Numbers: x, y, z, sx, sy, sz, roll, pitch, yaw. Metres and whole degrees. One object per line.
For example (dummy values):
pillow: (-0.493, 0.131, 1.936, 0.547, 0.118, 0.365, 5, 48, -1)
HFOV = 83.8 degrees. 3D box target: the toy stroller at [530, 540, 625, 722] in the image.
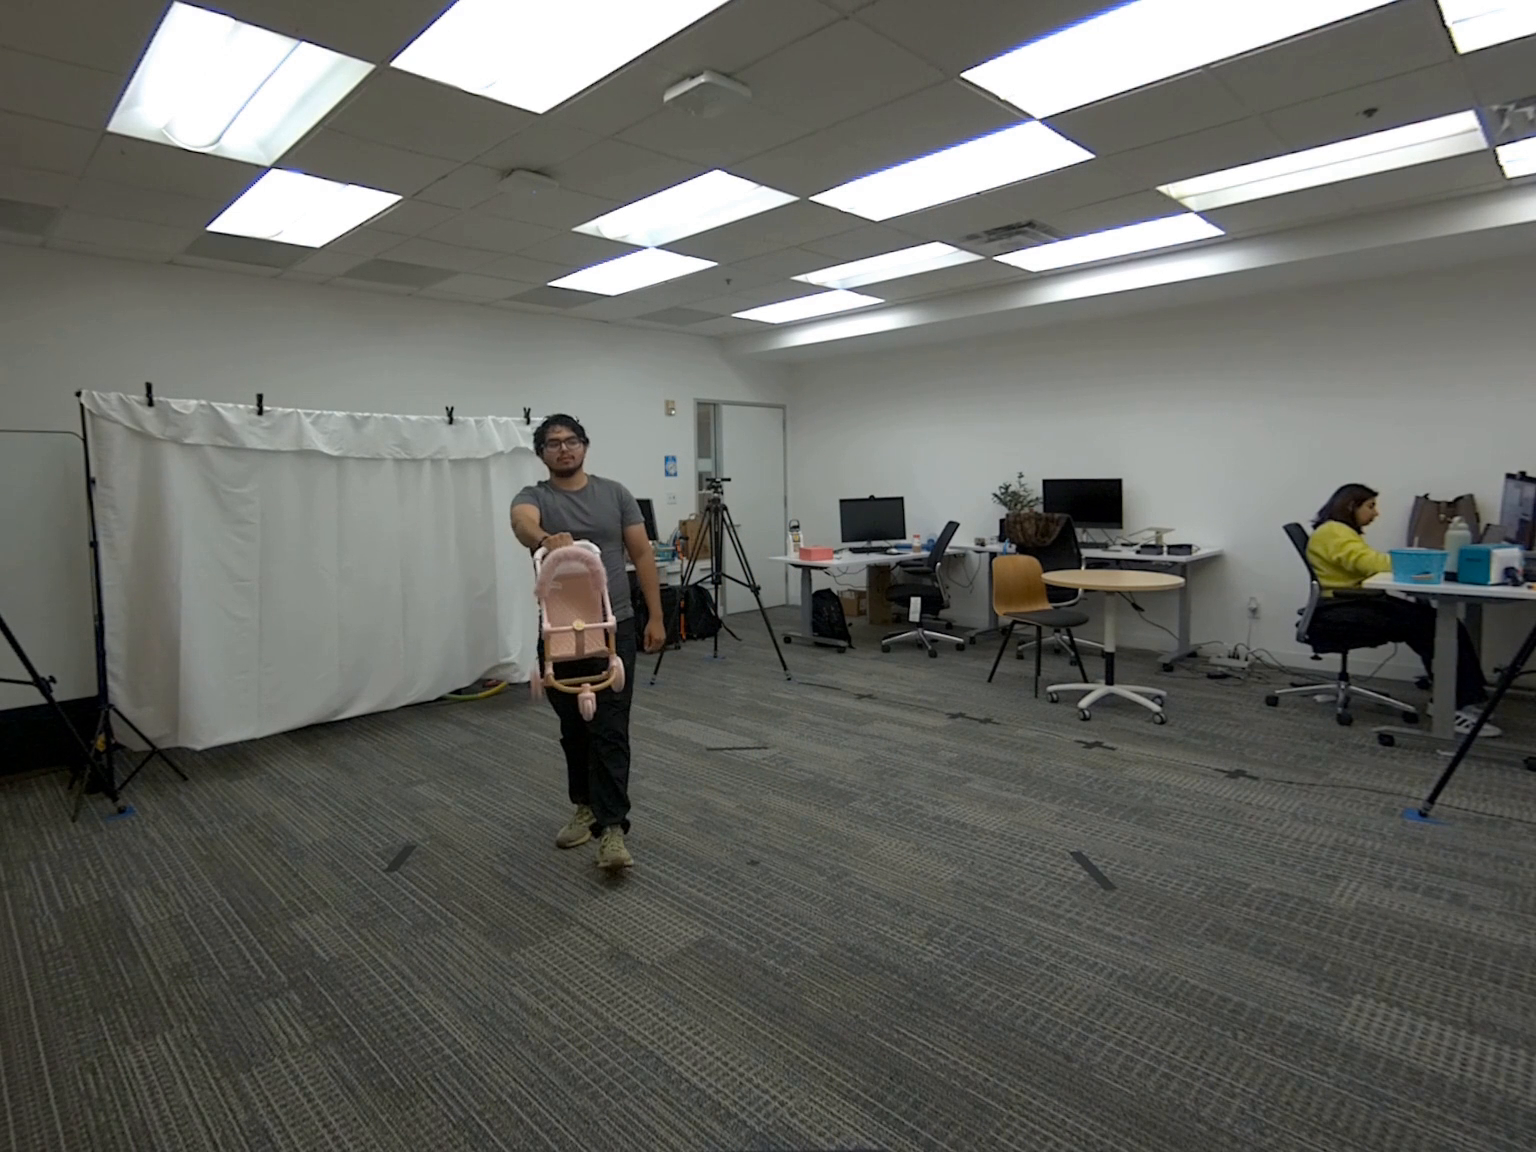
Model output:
toy stroller: (-0.580, 0.154, 2.537, 0.278, 0.538, 0.343, -5, -6, -14)
